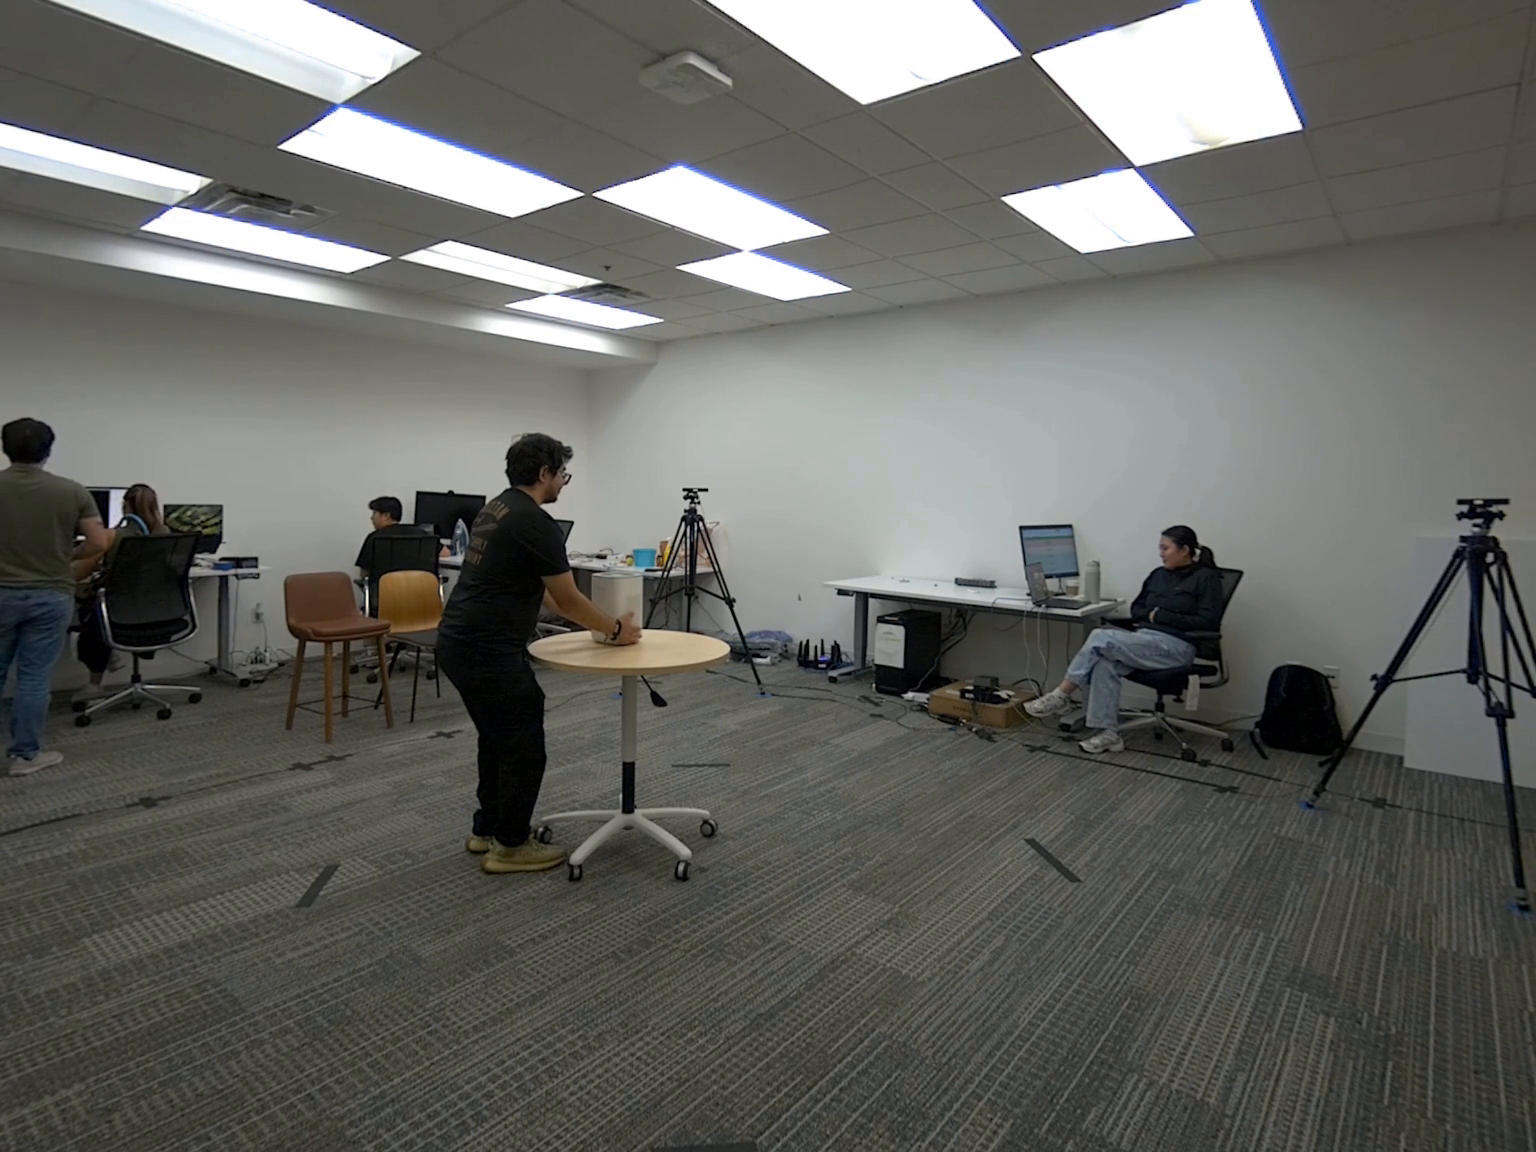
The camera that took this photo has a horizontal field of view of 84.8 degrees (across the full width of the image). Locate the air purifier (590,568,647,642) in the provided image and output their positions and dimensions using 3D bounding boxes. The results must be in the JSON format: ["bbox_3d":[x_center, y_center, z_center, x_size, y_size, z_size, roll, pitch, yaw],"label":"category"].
[{"bbox_3d":[-0.608,0.126,3.338,0.176,0.265,0.167,2,3,29],"label":"air purifier"}]
